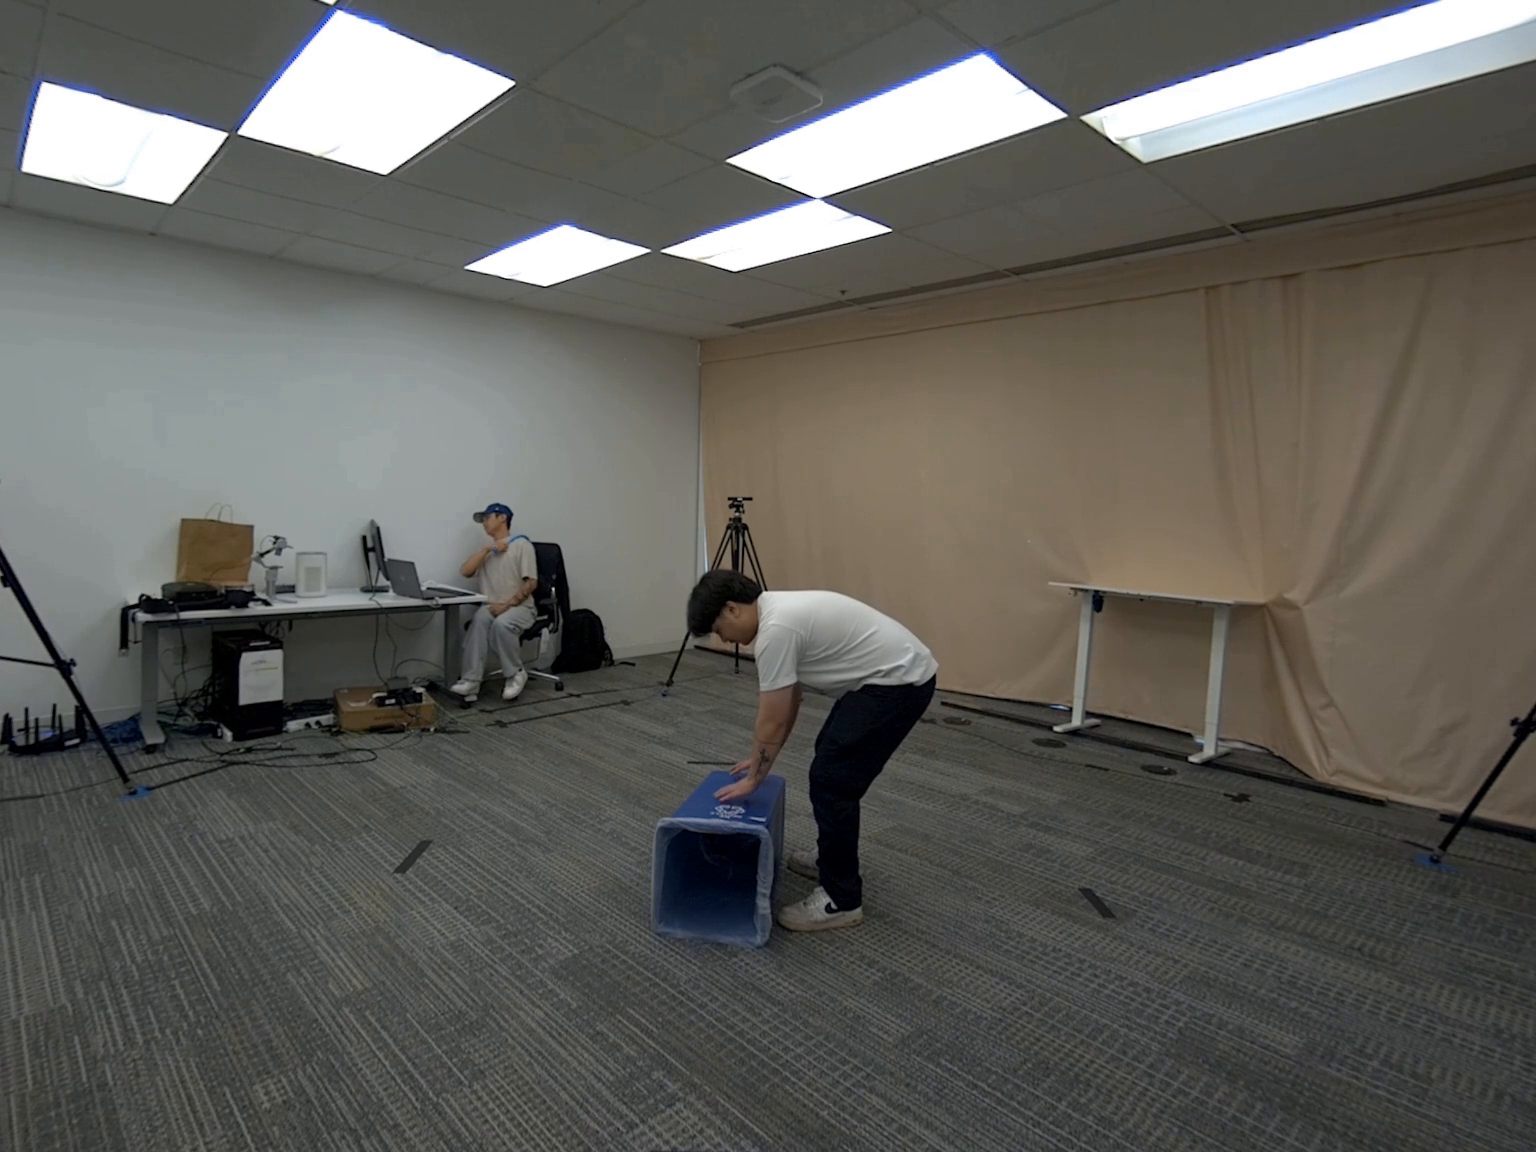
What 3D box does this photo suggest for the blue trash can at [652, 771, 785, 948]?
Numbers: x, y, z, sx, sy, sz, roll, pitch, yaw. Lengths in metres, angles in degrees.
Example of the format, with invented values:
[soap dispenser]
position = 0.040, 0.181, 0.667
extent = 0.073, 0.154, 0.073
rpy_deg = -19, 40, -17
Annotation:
[blue trash can]
position = -0.142, 0.949, 2.980
extent = 0.376, 0.378, 0.709
rpy_deg = 1, 2, 7
